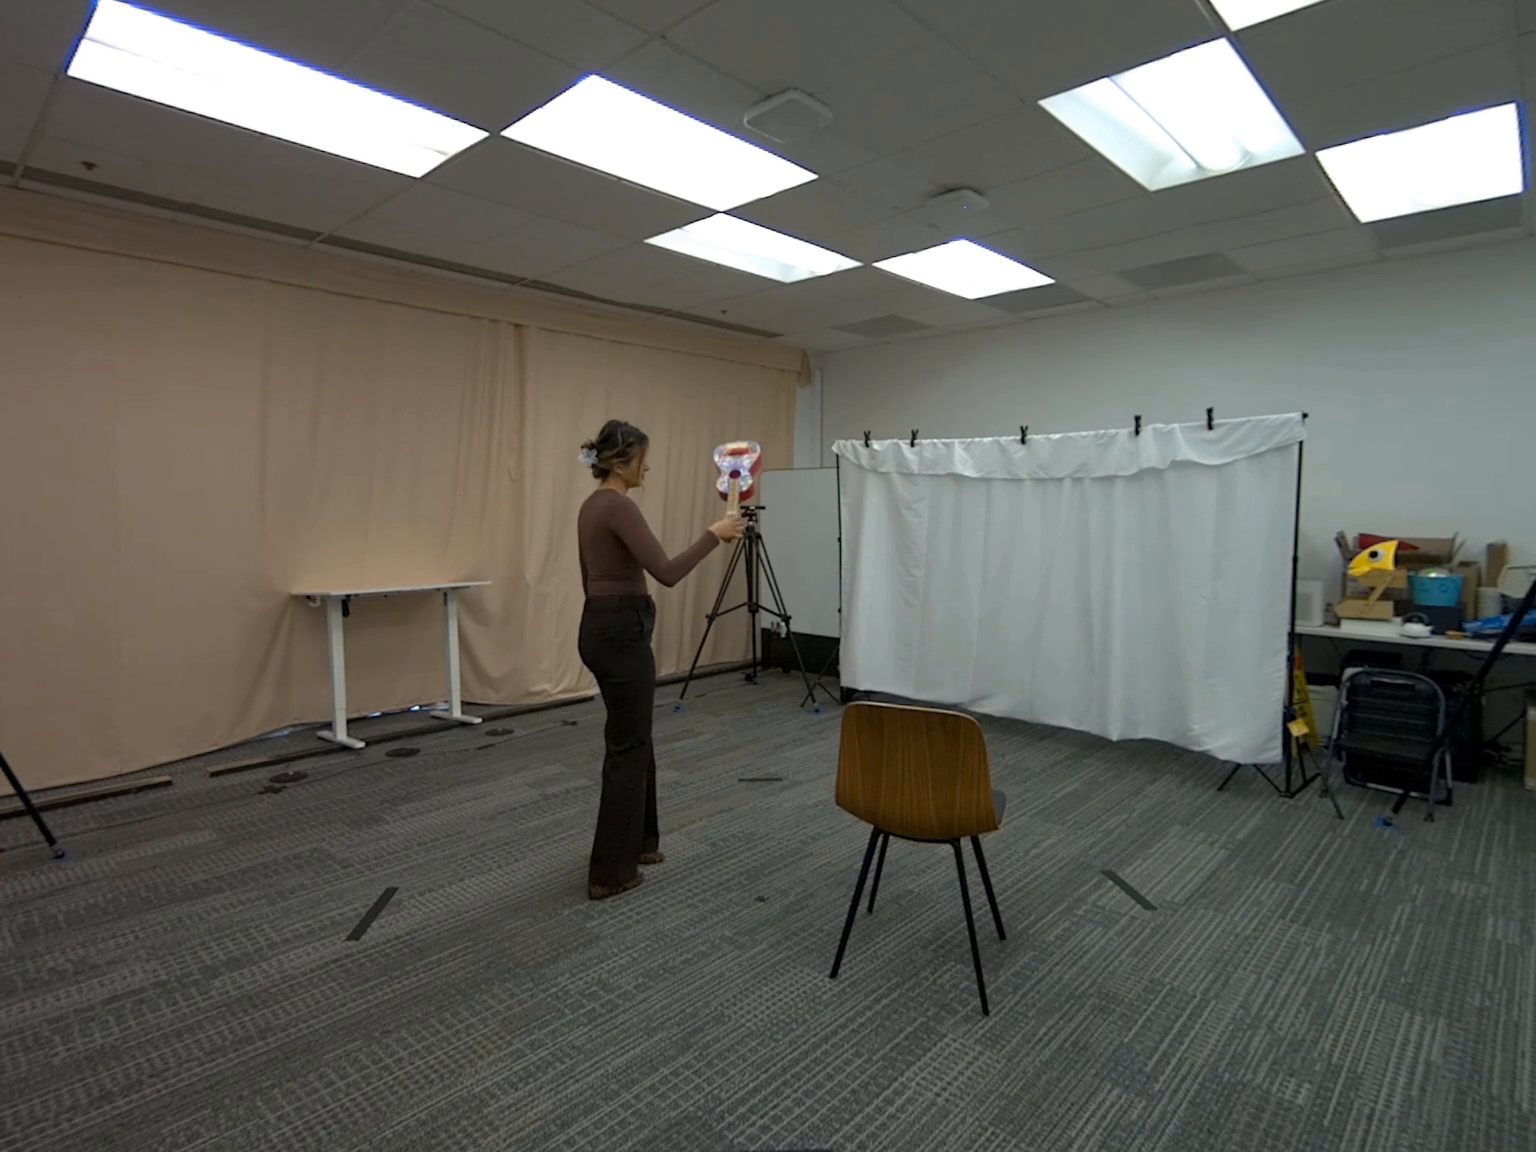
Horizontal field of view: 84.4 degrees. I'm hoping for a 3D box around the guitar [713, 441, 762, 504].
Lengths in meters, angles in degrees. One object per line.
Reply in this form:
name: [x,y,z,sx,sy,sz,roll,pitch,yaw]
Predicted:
guitar: [-0.152,-0.311,3.236,0.197,0.502,0.069,3,-33,17]
